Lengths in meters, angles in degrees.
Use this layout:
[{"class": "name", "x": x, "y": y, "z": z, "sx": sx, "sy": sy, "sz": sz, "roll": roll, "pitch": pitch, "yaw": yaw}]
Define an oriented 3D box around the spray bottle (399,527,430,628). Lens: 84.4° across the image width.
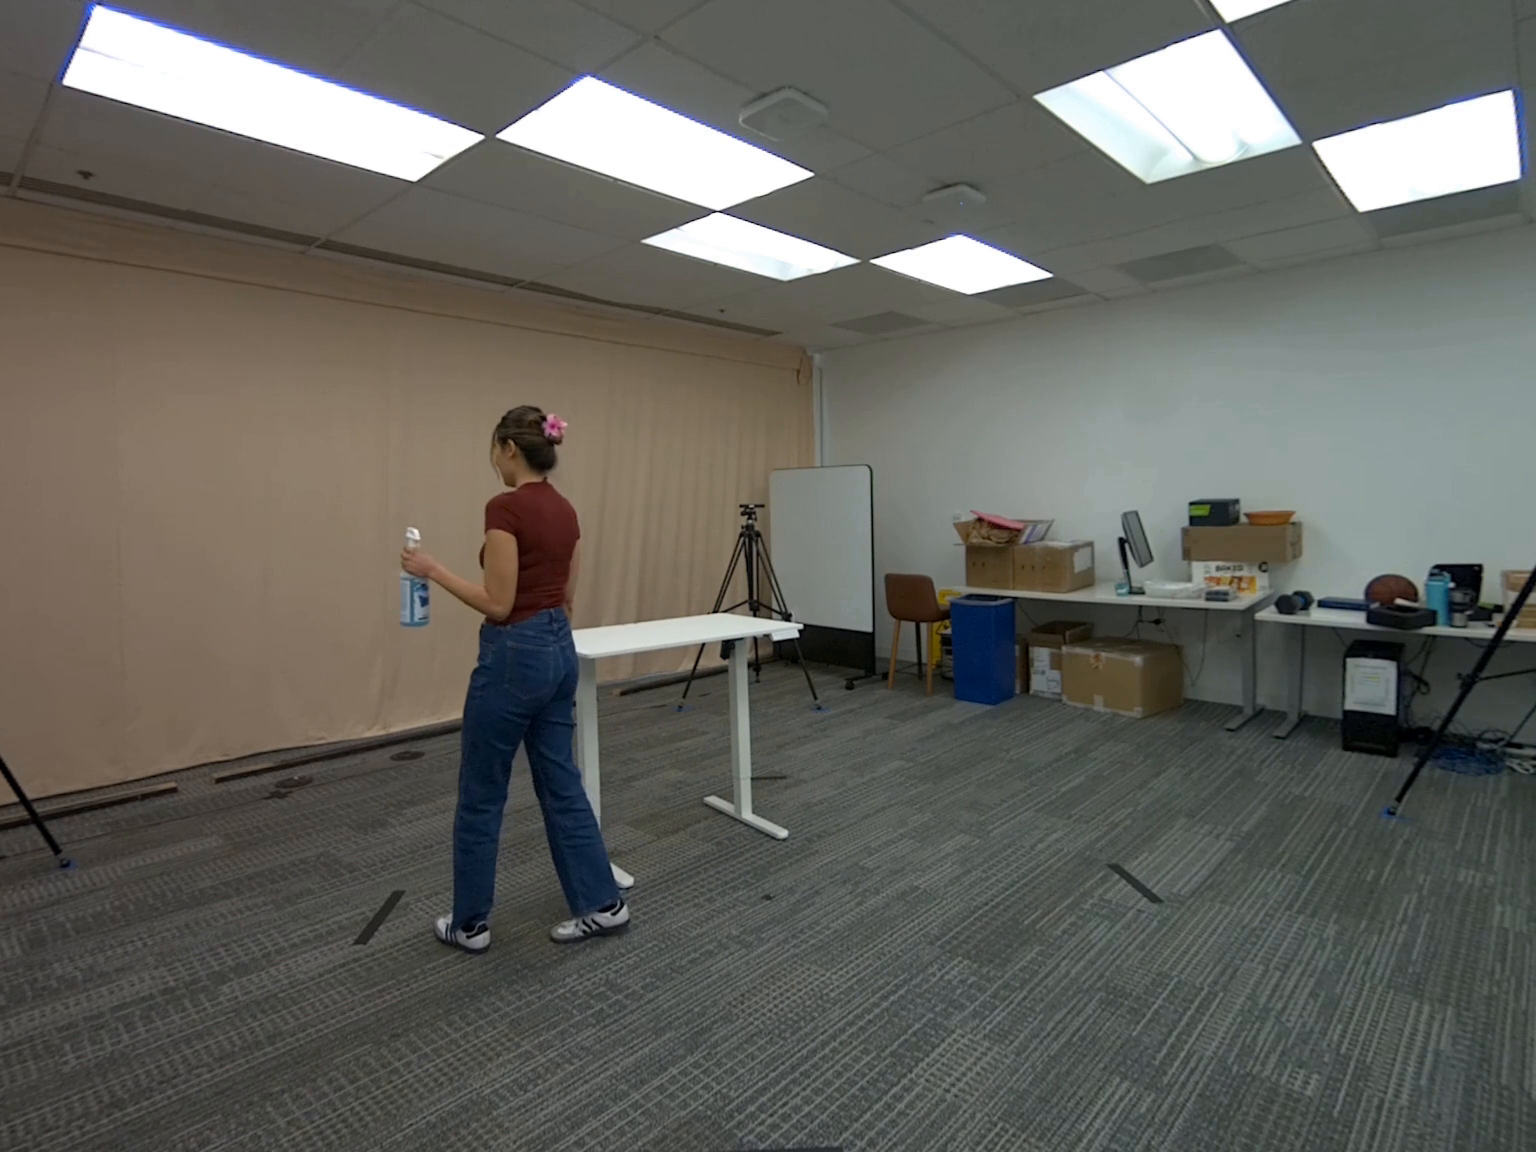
[{"class": "spray bottle", "x": -1.083, "y": 0.004, "z": 2.571, "sx": 0.086, "sy": 0.297, "sz": 0.091, "roll": 1, "pitch": 4, "yaw": -13}]
